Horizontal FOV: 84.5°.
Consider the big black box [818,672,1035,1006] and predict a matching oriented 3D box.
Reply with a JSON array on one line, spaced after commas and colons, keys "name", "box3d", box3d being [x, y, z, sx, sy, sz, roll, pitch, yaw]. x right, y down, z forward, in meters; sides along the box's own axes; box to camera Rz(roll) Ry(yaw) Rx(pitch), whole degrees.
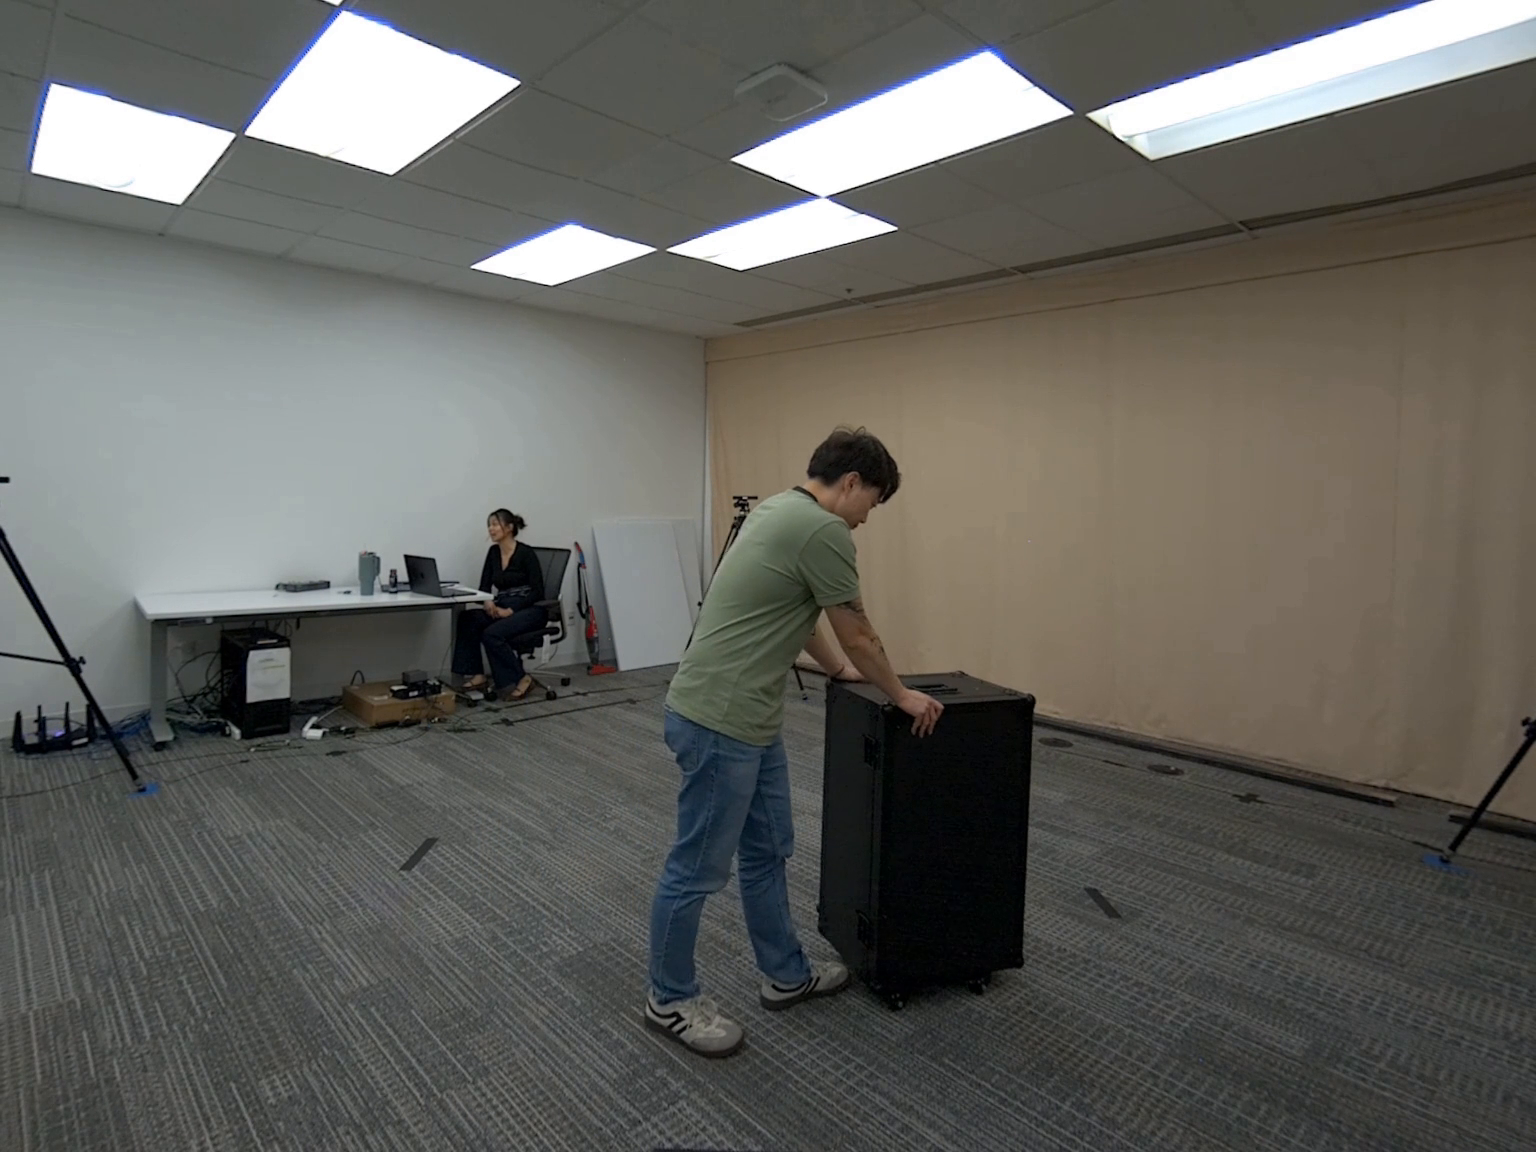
[{"name": "big black box", "box3d": [0.440, 0.751, 2.480, 0.513, 0.860, 0.403, 0, 3, -21]}]
